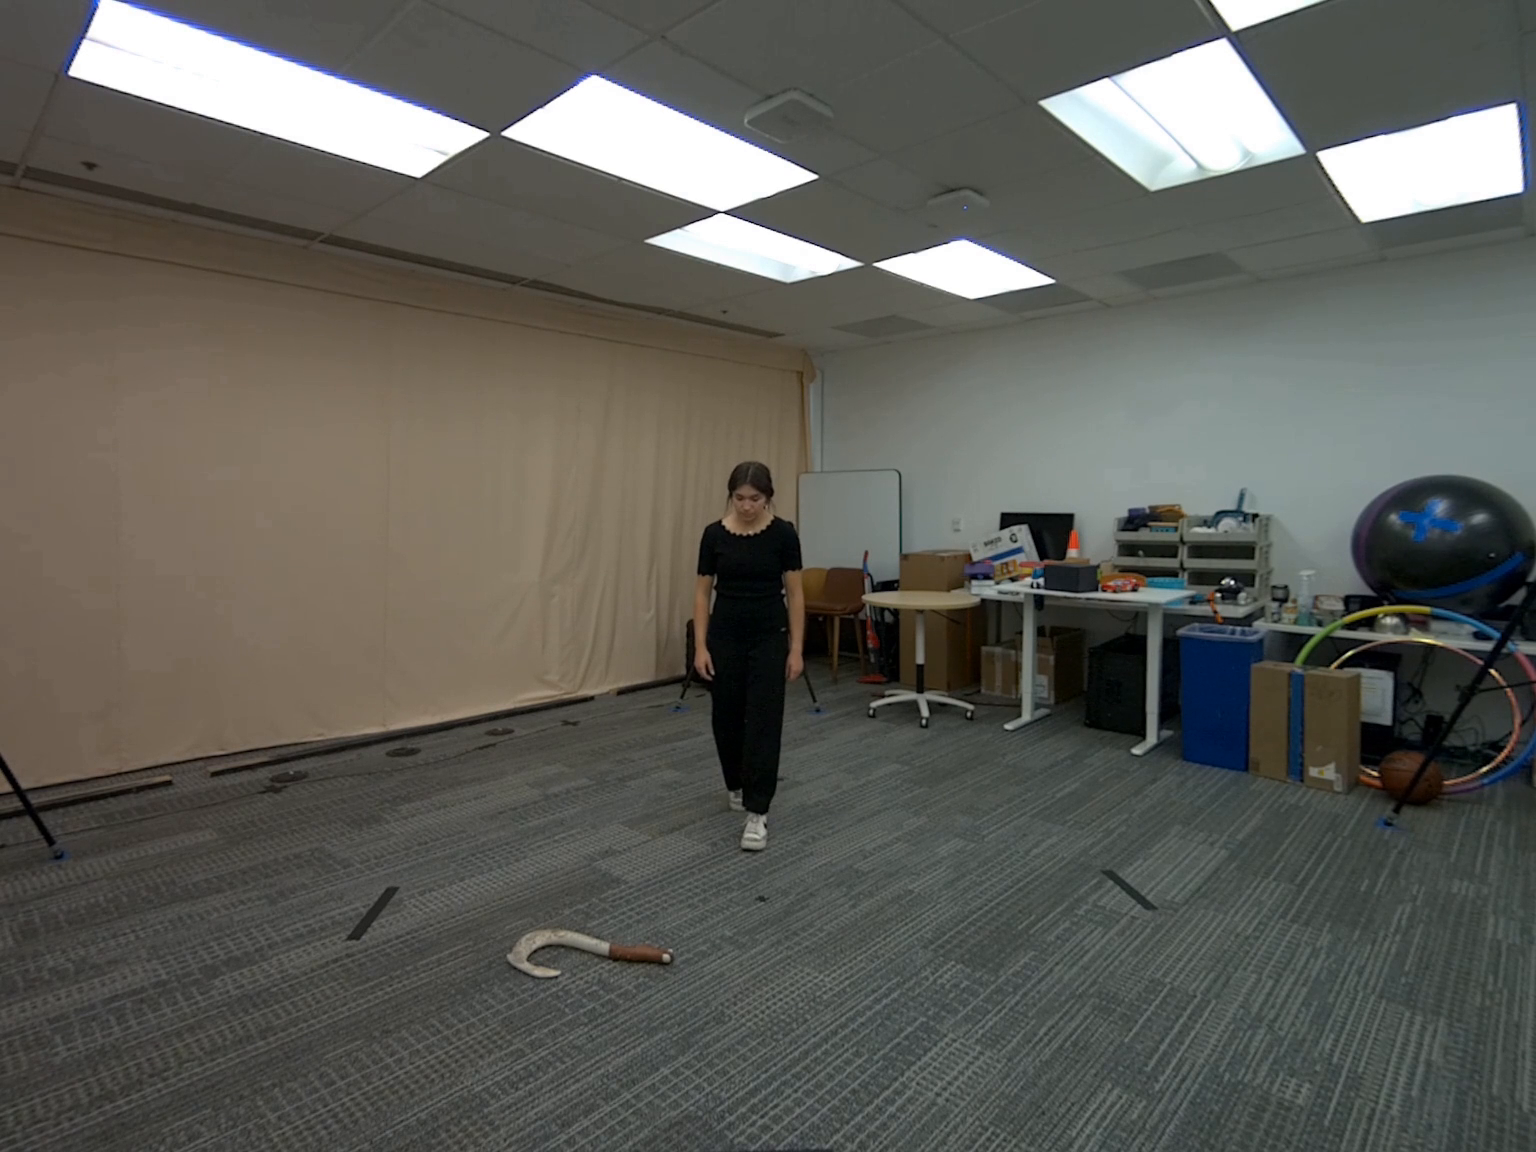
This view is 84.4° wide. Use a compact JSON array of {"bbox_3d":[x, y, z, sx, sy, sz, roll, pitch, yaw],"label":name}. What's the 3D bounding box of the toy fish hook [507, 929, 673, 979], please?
[{"bbox_3d":[-0.542,1.165,2.566,0.514,0.048,0.223,-1,12,13],"label":"toy fish hook"}]
